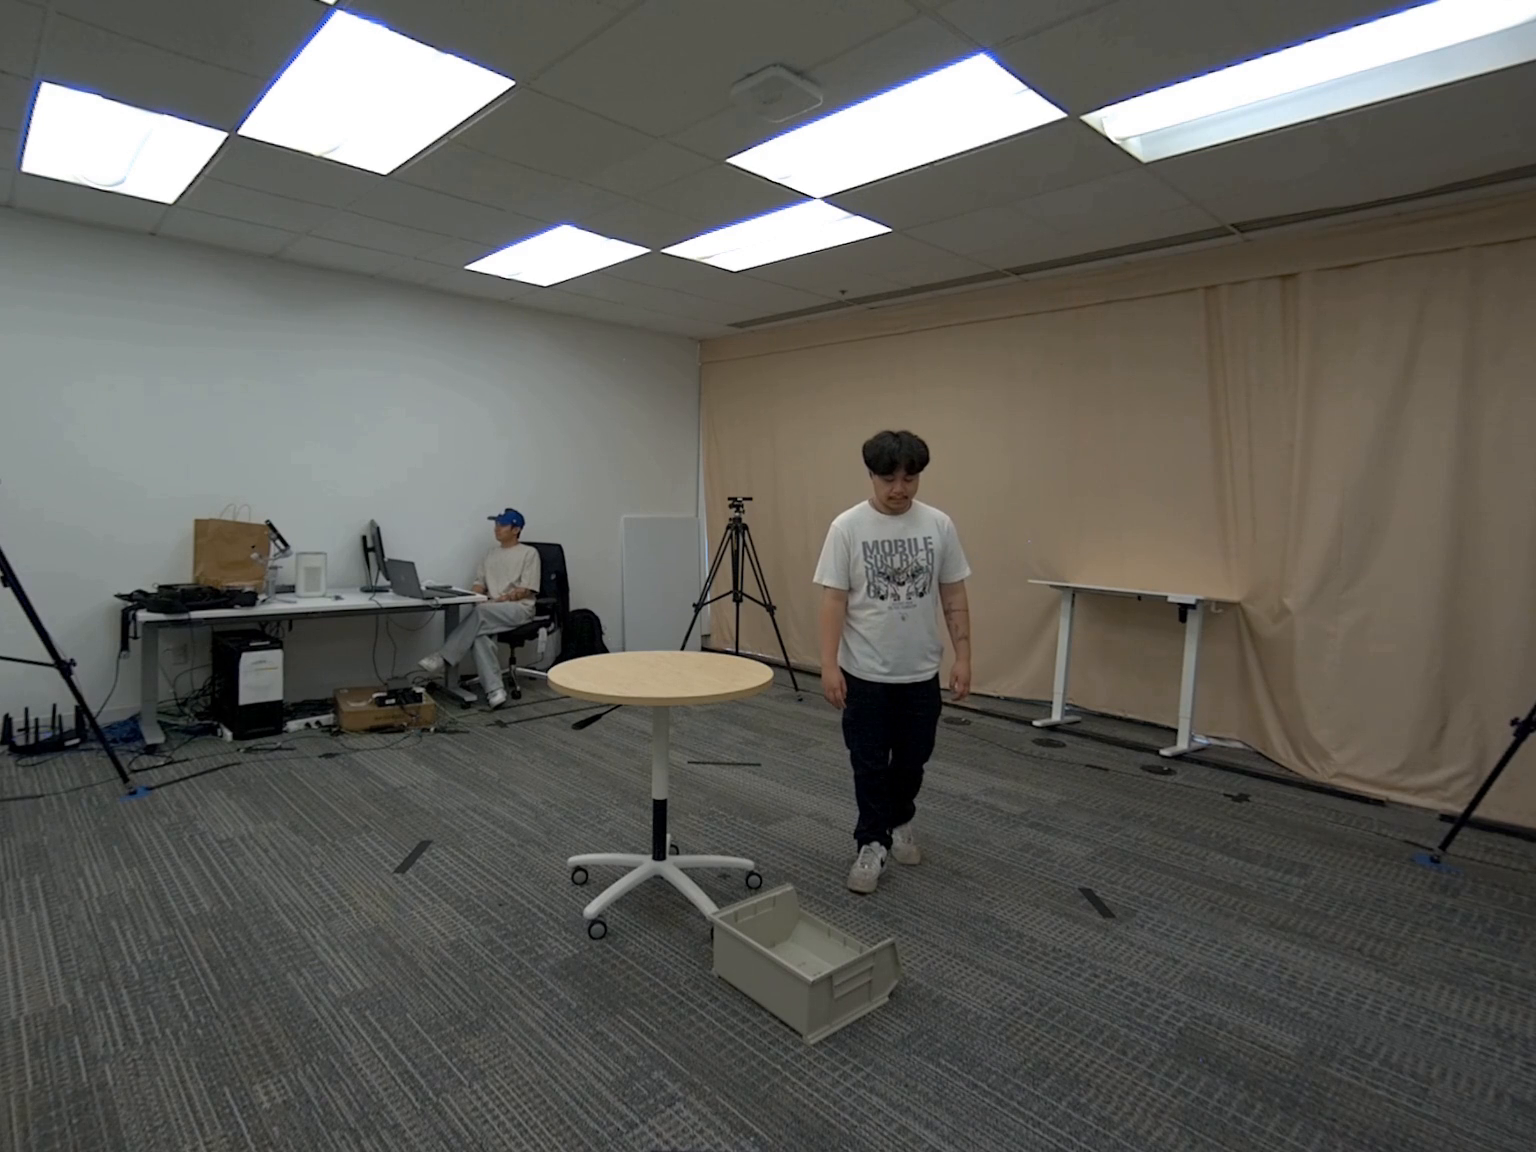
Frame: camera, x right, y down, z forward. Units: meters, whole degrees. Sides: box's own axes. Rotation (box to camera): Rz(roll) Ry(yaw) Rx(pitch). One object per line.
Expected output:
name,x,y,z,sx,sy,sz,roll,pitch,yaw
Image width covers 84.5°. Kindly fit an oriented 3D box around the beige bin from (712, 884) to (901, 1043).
beige bin,0.096,1.090,2.415,0.369,0.188,0.433,-4,8,-42
